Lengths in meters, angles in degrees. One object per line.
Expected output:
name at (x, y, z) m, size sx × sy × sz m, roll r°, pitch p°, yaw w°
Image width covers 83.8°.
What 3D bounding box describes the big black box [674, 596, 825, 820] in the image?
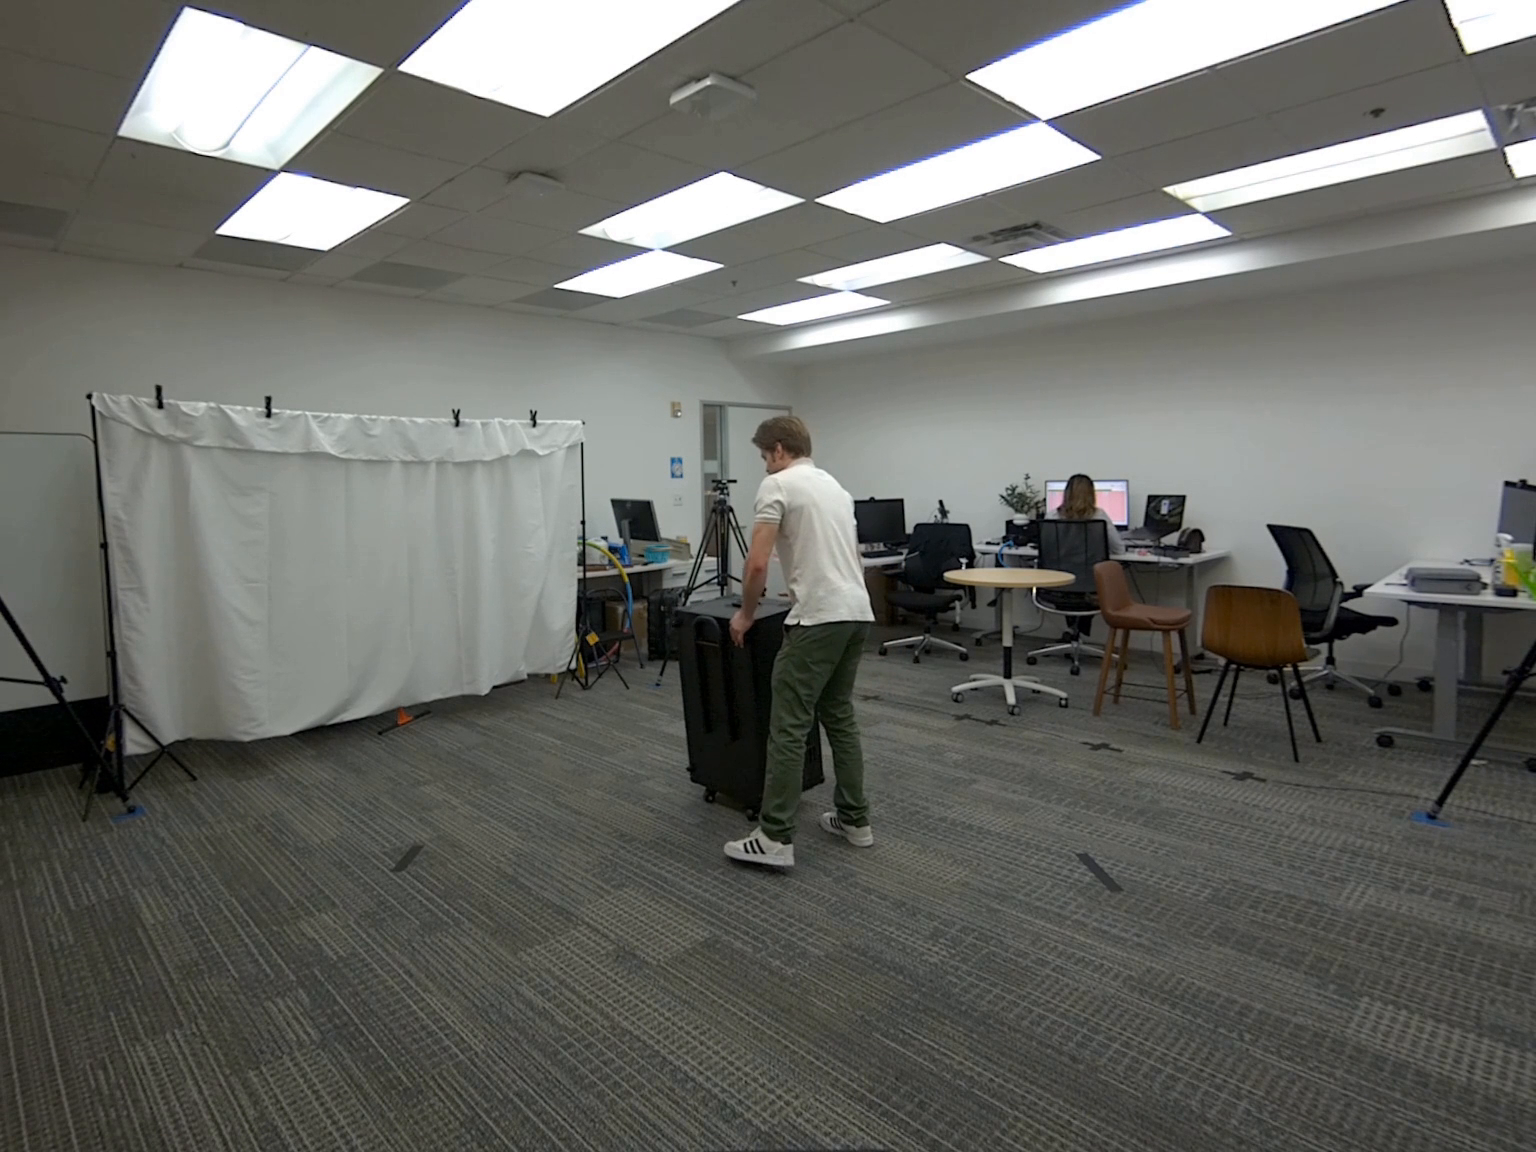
big black box at (-0.083, 0.553, 3.672) m, size 0.376 × 0.862 × 0.539 m, roll -12°, pitch 10°, yaw -42°
